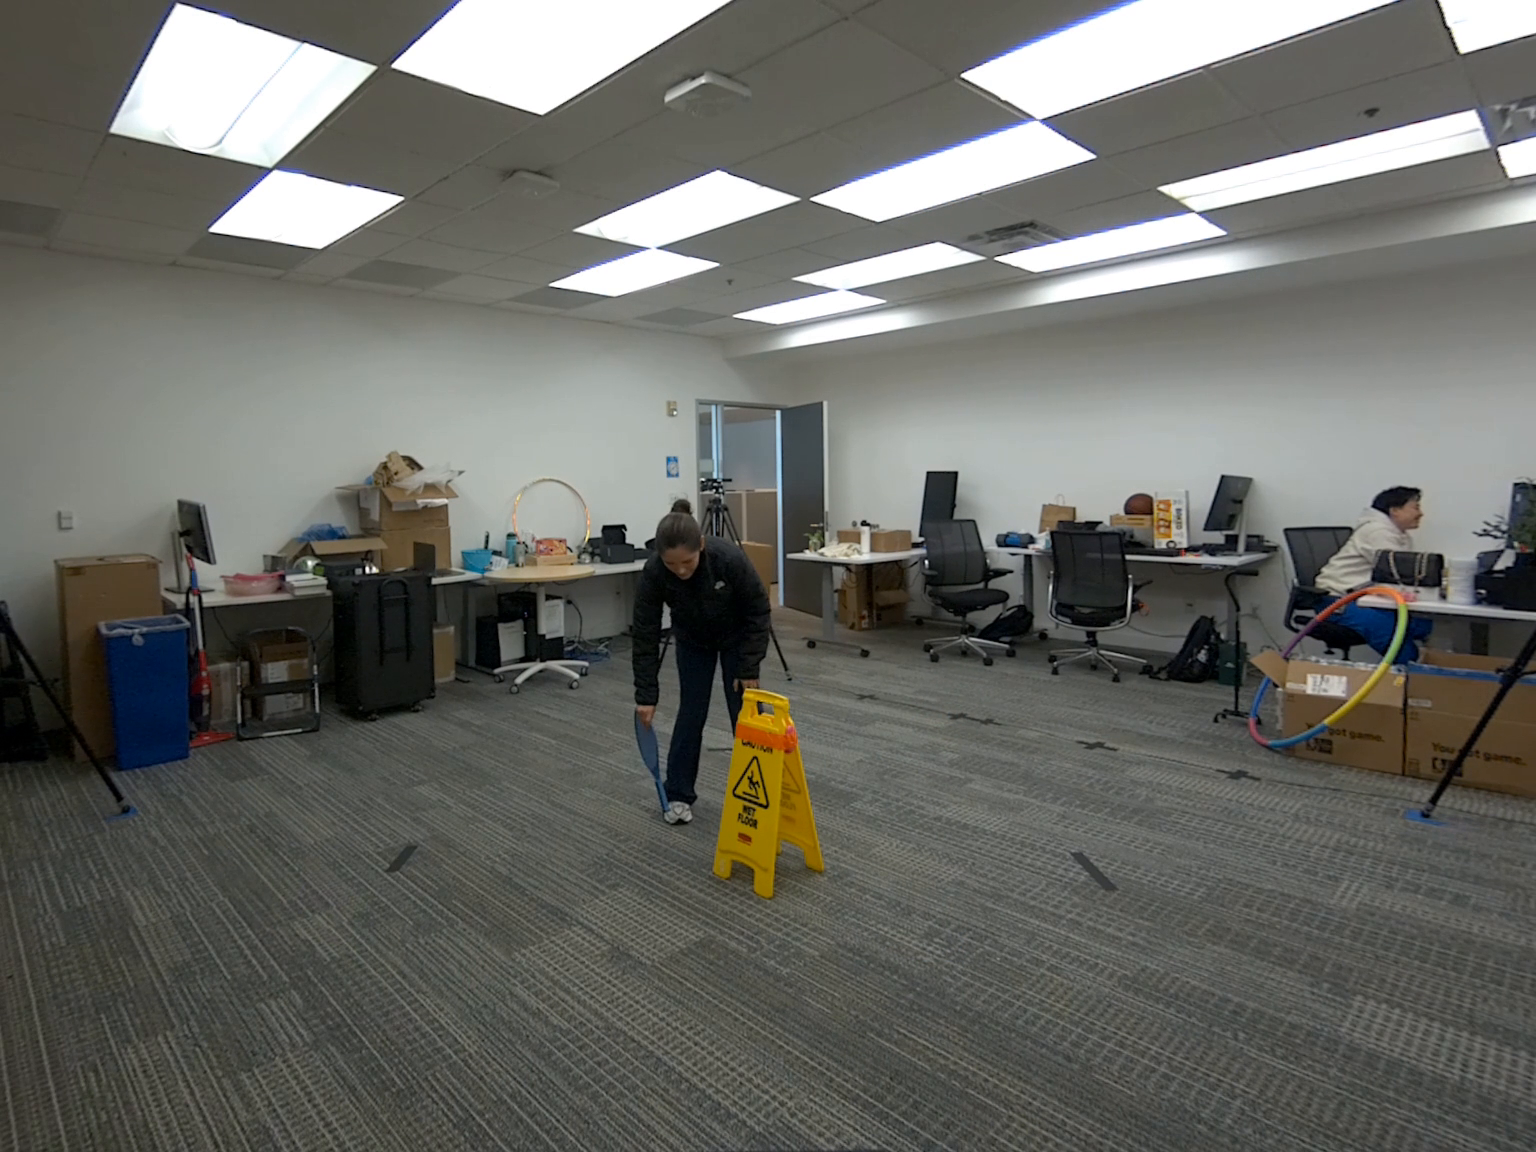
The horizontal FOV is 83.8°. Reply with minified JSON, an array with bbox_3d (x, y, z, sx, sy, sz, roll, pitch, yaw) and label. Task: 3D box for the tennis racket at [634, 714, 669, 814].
[{"bbox_3d":[-0.456,0.730,3.420,0.031,0.442,0.213,-11,-19,-24],"label":"tennis racket"}]
